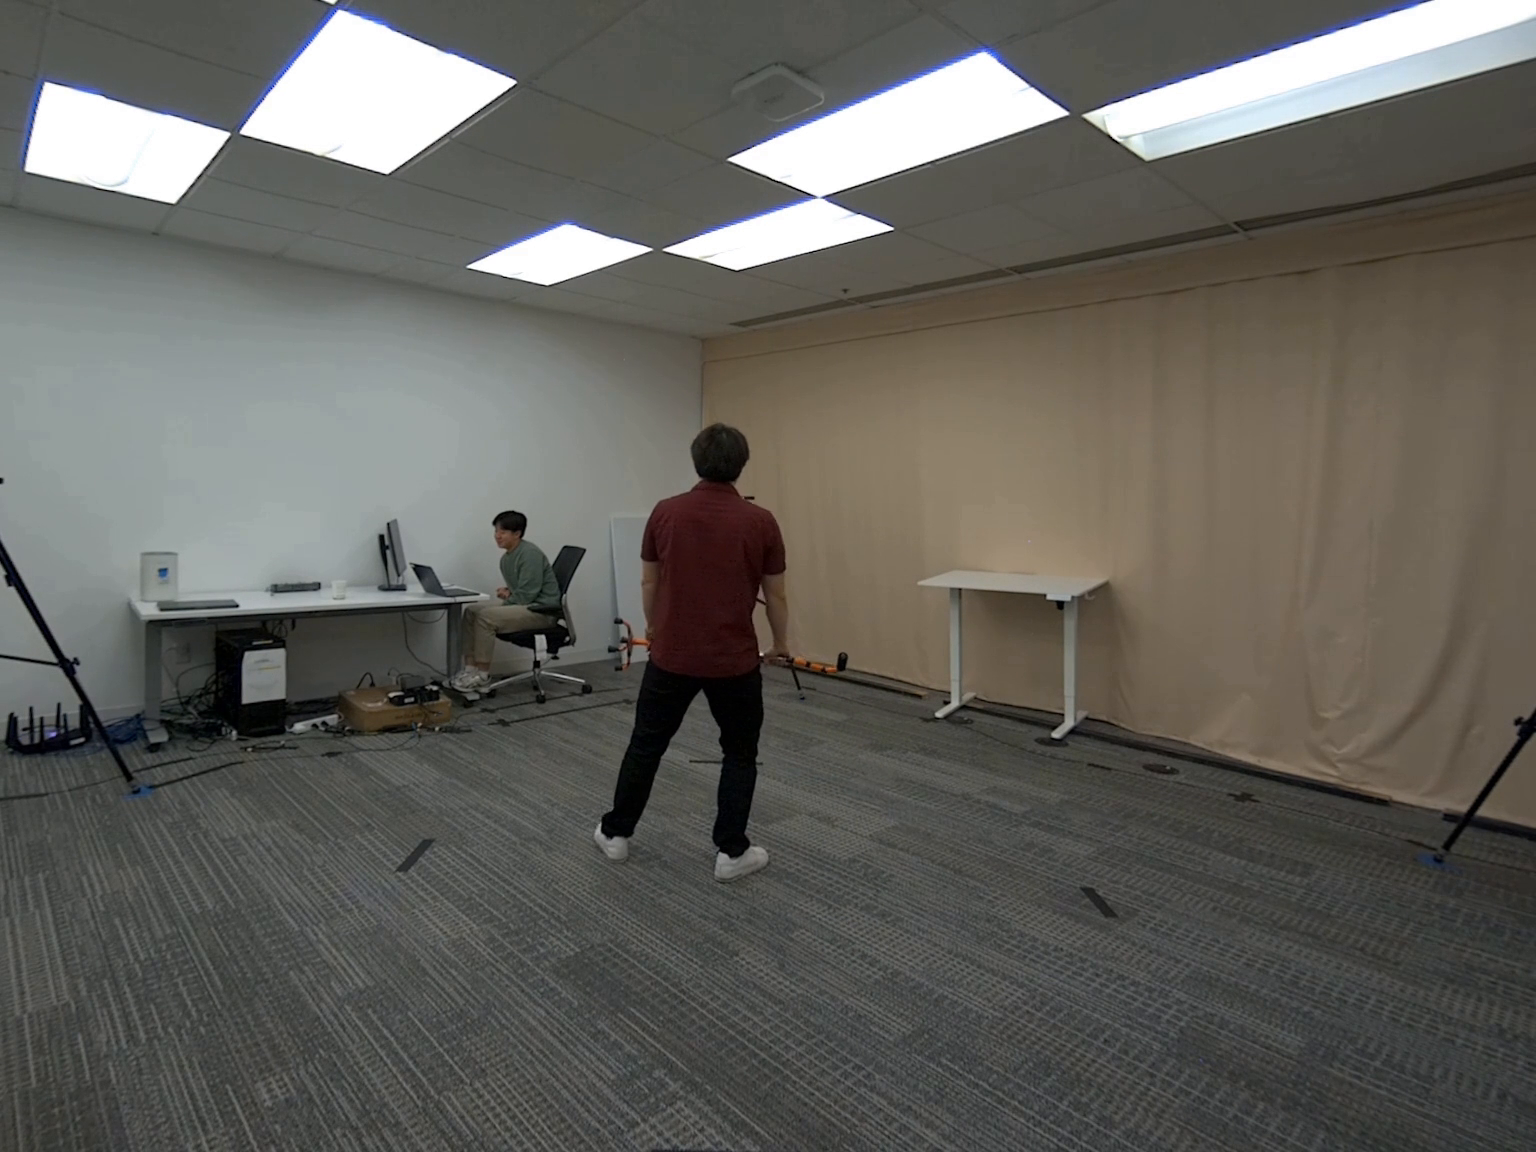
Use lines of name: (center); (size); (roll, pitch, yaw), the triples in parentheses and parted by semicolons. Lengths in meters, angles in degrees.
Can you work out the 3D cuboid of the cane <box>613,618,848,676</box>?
cane: (-0.158, 0.316, 3.327); (0.911, 0.154, 0.202); (6, -33, 4)
